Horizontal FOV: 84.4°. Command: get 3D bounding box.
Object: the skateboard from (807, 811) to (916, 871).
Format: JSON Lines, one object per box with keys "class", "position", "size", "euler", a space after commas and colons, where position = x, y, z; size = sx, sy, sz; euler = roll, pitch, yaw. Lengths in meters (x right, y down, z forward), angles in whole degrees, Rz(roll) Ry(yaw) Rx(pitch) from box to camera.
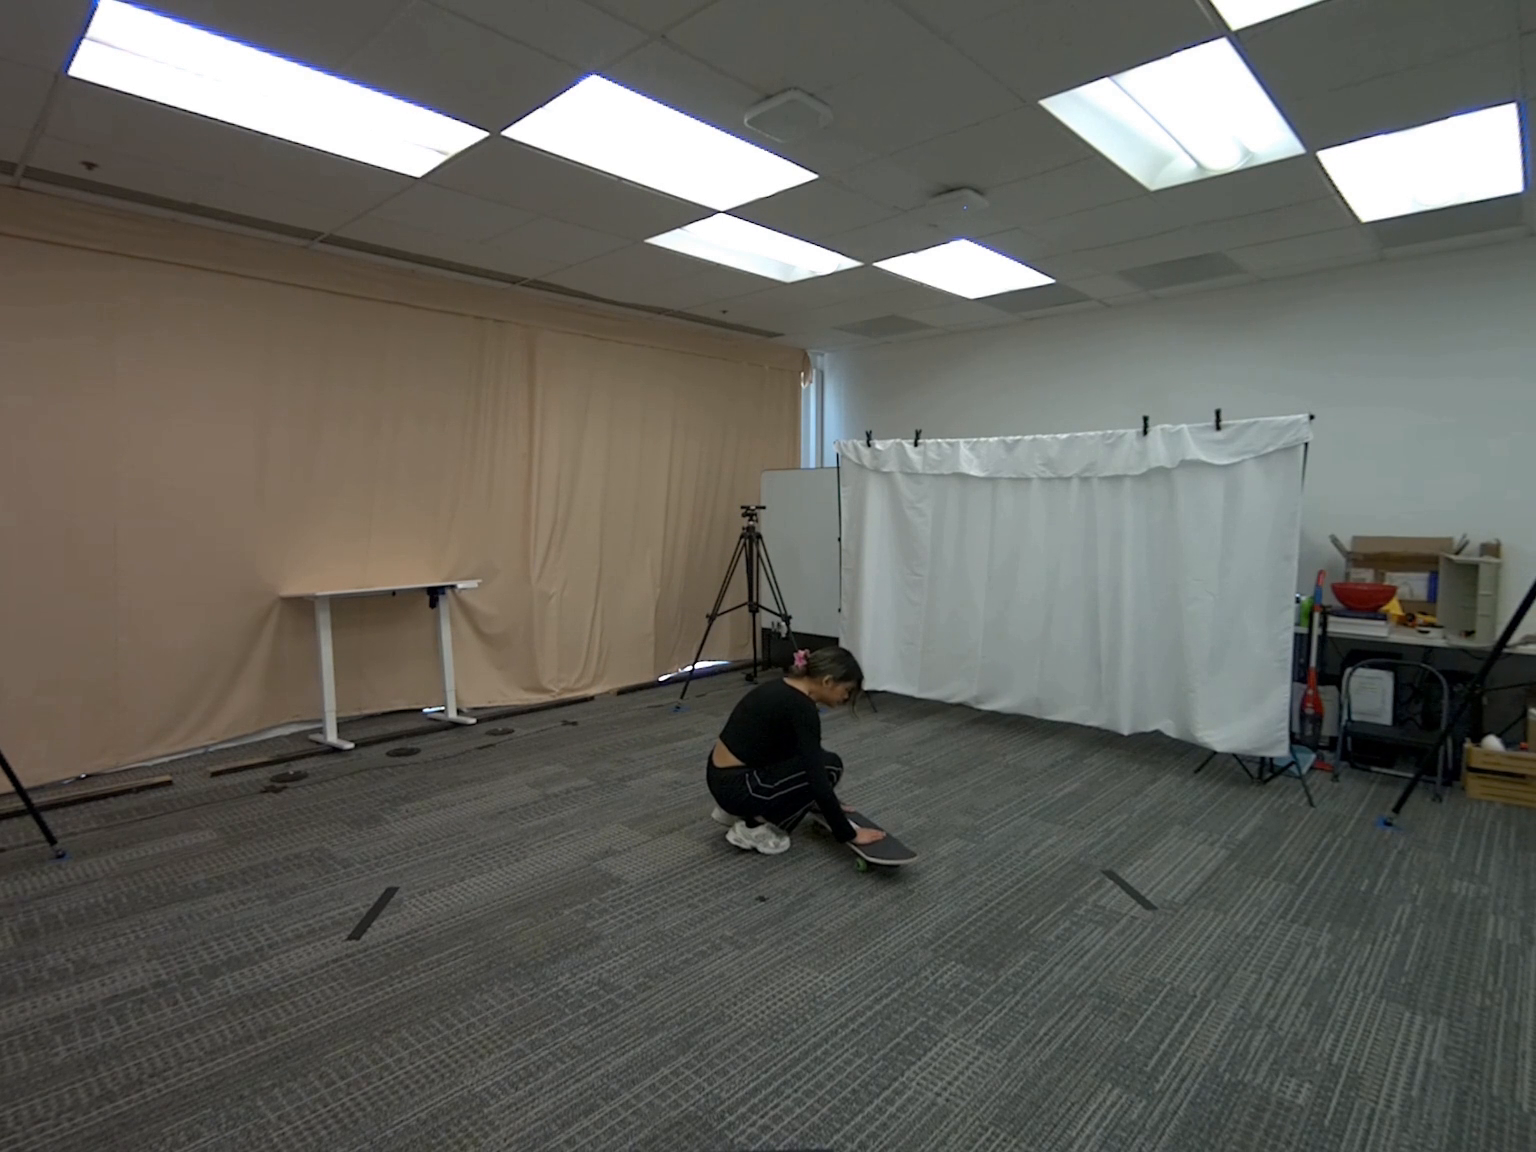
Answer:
{"class": "skateboard", "position": [0.353, 1.050, 3.413], "size": [0.189, 0.110, 0.803], "euler": [-2, 5, -22]}
